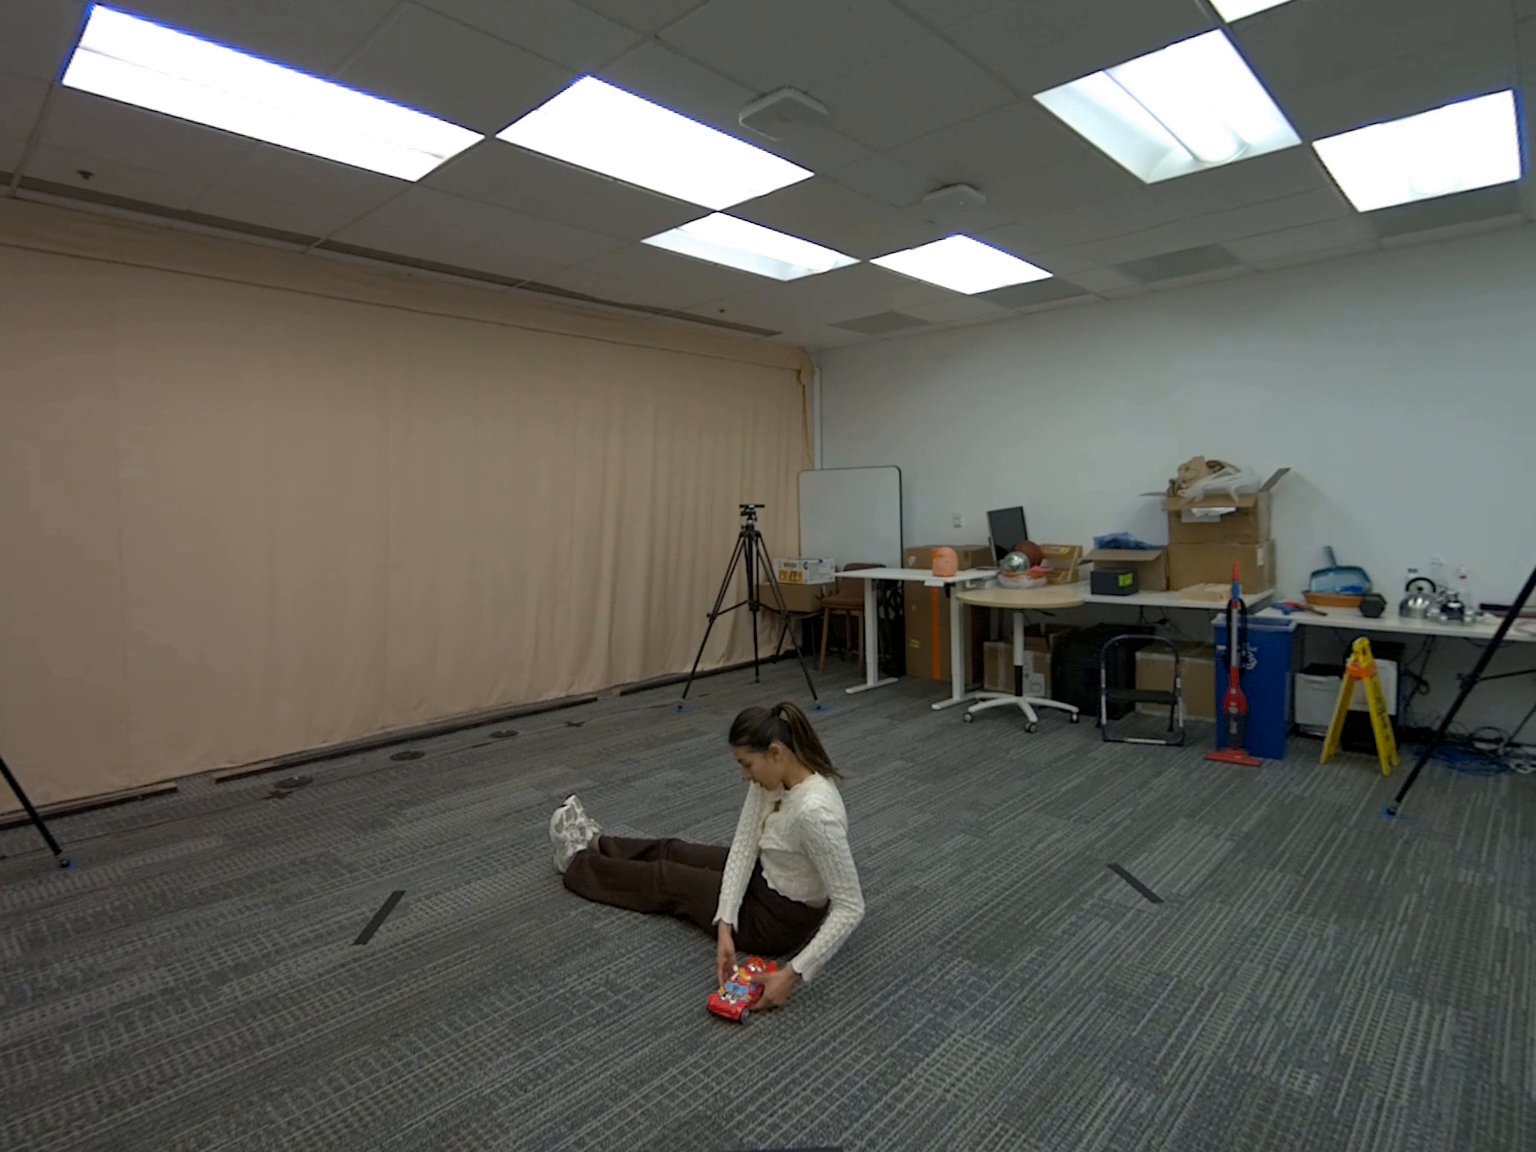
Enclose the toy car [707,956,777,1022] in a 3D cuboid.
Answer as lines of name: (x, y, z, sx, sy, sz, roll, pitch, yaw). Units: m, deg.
toy car: (-0.062, 1.157, 2.369, 0.134, 0.082, 0.249, 1, 15, 31)
